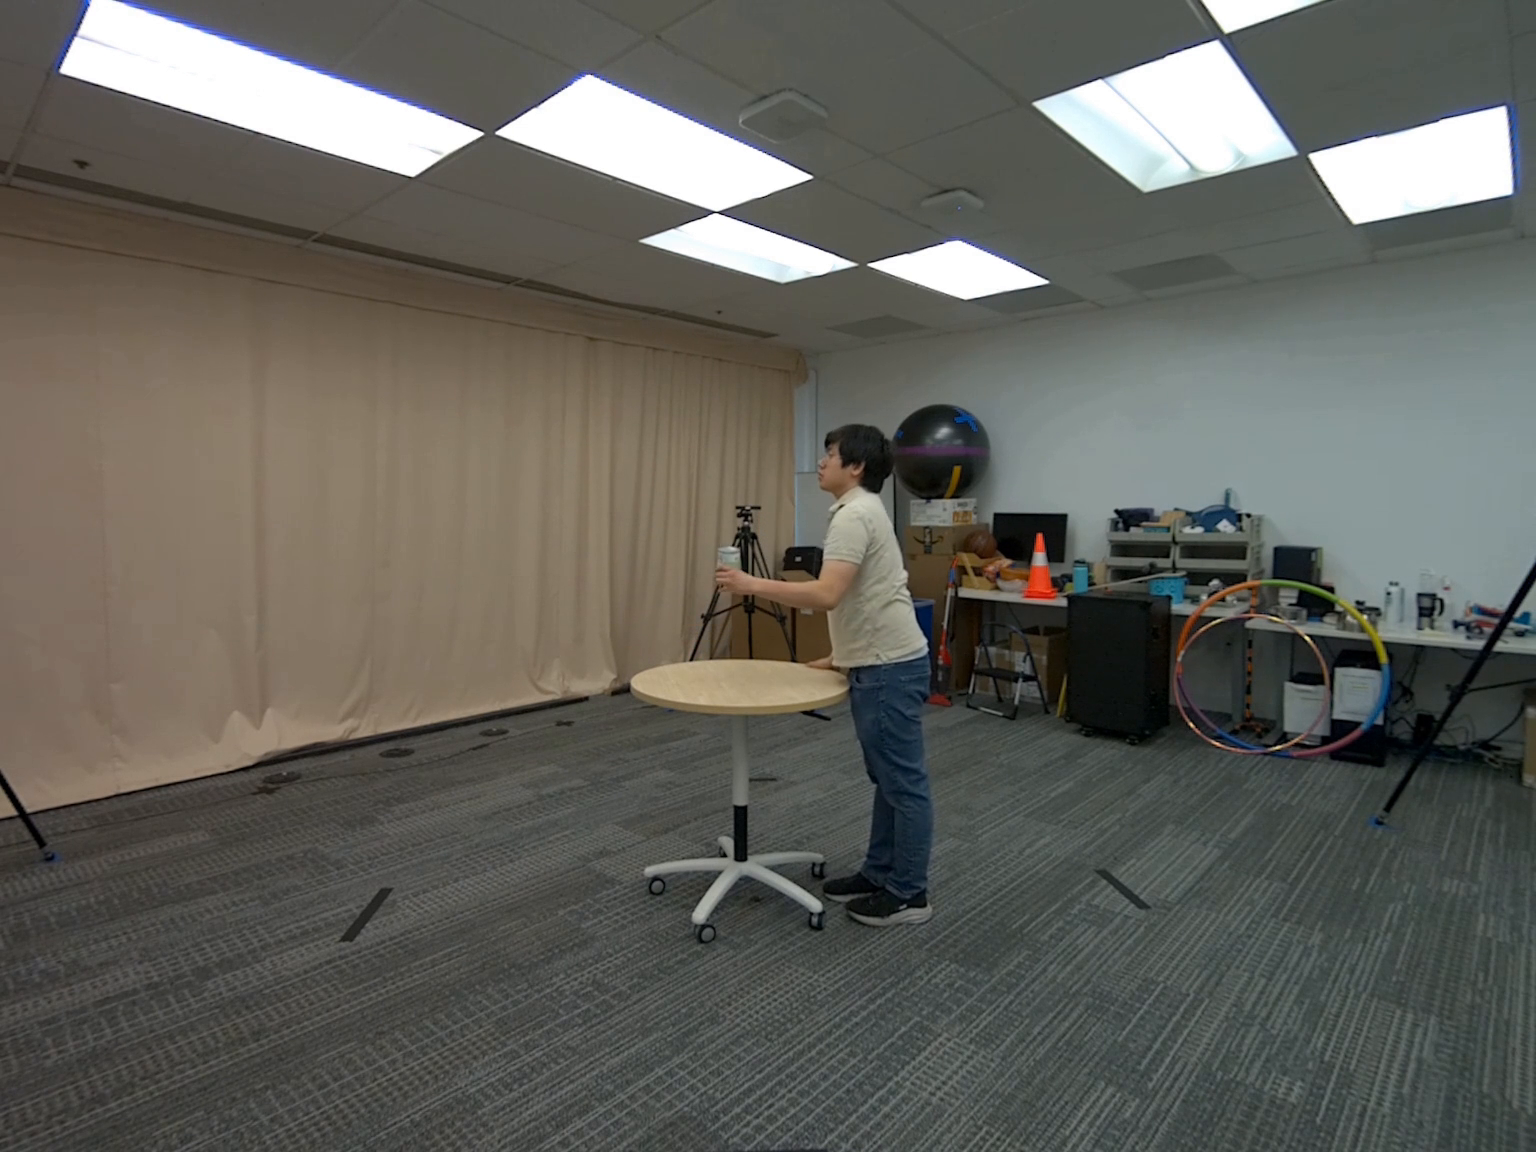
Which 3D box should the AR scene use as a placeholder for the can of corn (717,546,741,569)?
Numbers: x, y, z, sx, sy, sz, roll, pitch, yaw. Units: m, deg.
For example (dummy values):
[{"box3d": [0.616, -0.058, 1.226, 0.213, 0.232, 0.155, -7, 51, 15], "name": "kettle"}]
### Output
[{"box3d": [-0.135, -0.022, 2.779, 0.074, 0.110, 0.075, 2, 14, -2], "name": "can of corn"}]
